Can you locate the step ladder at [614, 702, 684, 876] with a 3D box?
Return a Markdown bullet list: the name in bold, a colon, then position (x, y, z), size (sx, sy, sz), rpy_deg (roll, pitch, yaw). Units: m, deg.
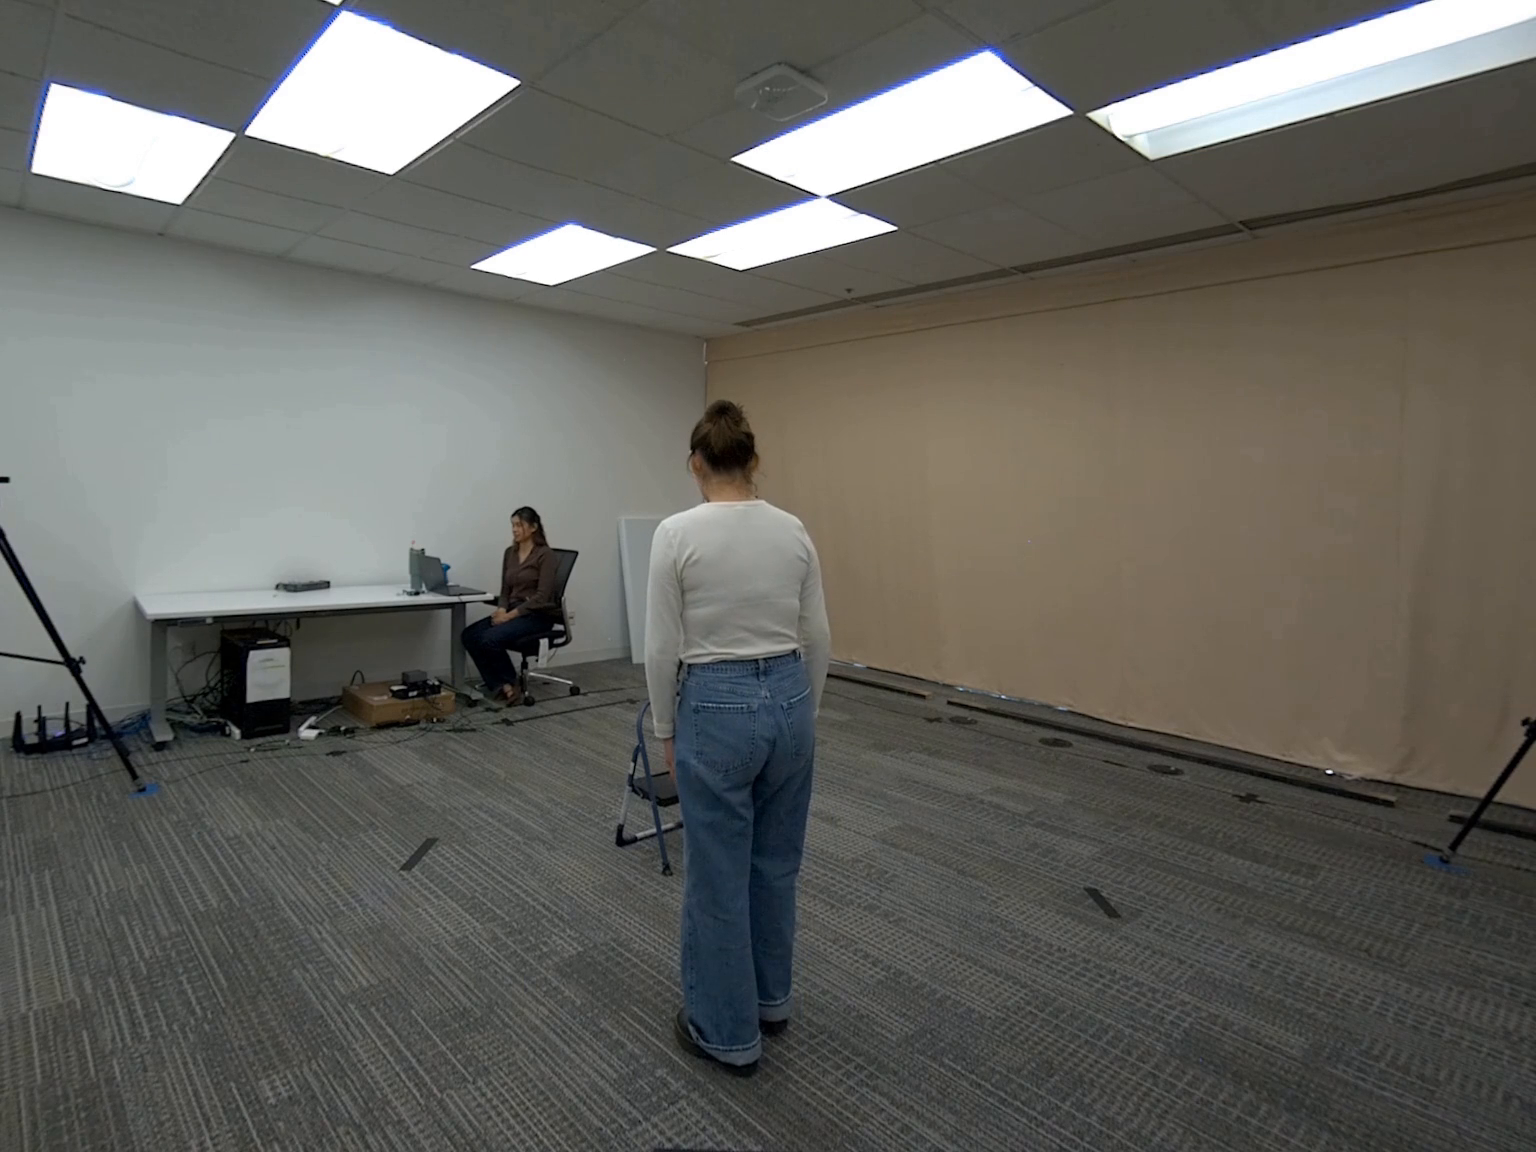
- **step ladder**: position (-0.339, 0.774, 3.334), size (0.421, 0.604, 0.358), rpy_deg (-2, 5, -45)
